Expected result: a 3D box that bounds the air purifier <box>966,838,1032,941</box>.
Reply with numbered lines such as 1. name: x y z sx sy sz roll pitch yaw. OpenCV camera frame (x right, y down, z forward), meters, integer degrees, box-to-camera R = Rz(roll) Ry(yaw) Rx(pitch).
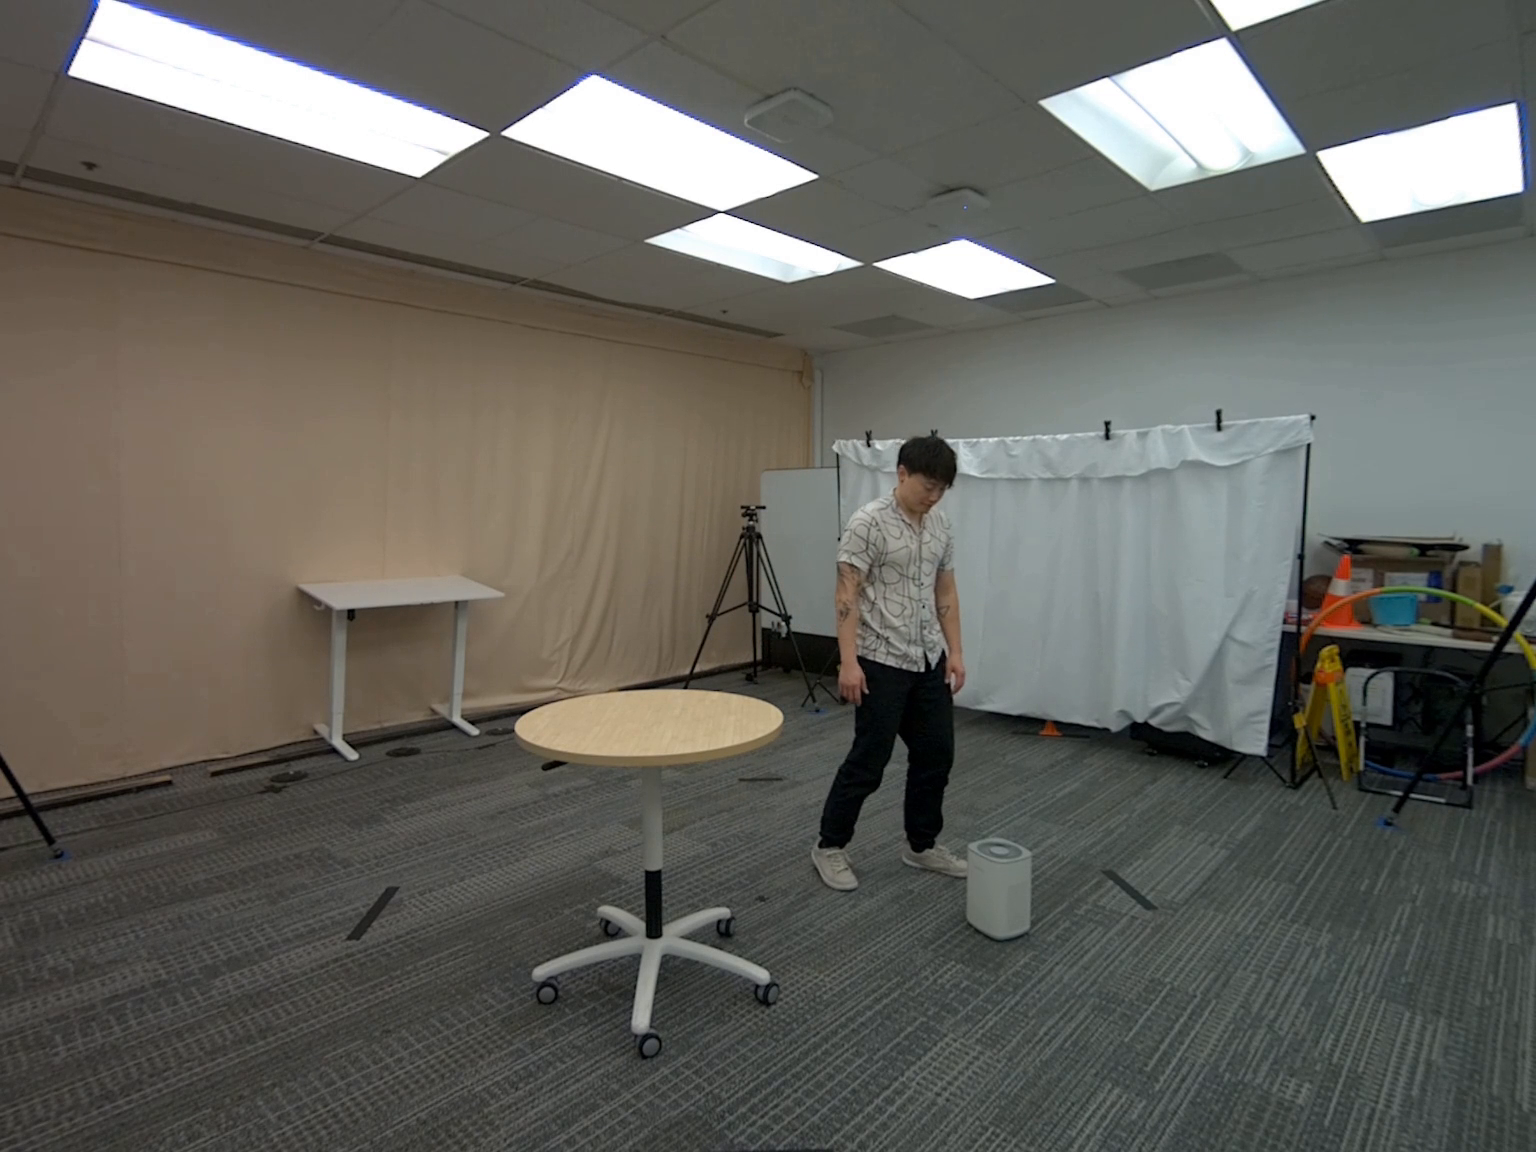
1. air purifier: 0.760 1.023 2.758 0.167 0.265 0.176 -3 5 -31
